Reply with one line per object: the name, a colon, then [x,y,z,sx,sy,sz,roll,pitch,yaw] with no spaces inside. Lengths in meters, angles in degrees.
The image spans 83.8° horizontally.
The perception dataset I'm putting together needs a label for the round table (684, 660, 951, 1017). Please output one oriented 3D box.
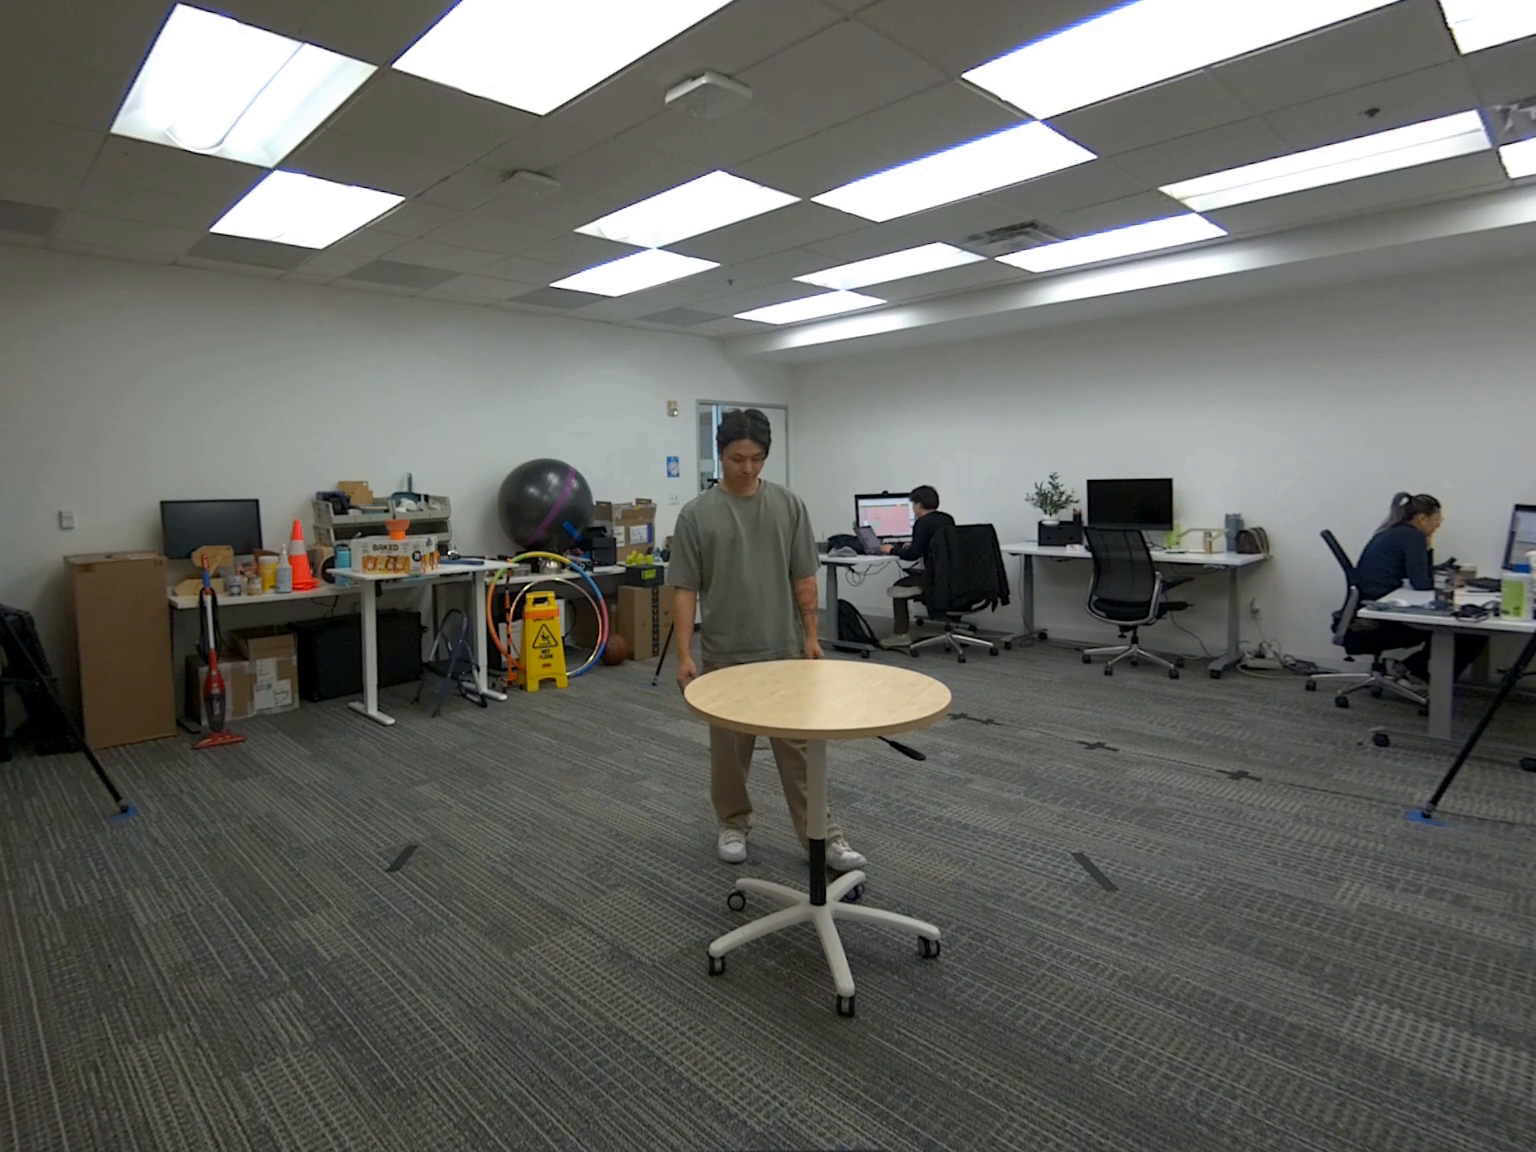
round table: [0.155,0.721,2.512,0.784,0.783,0.789,-1,5,-2]
